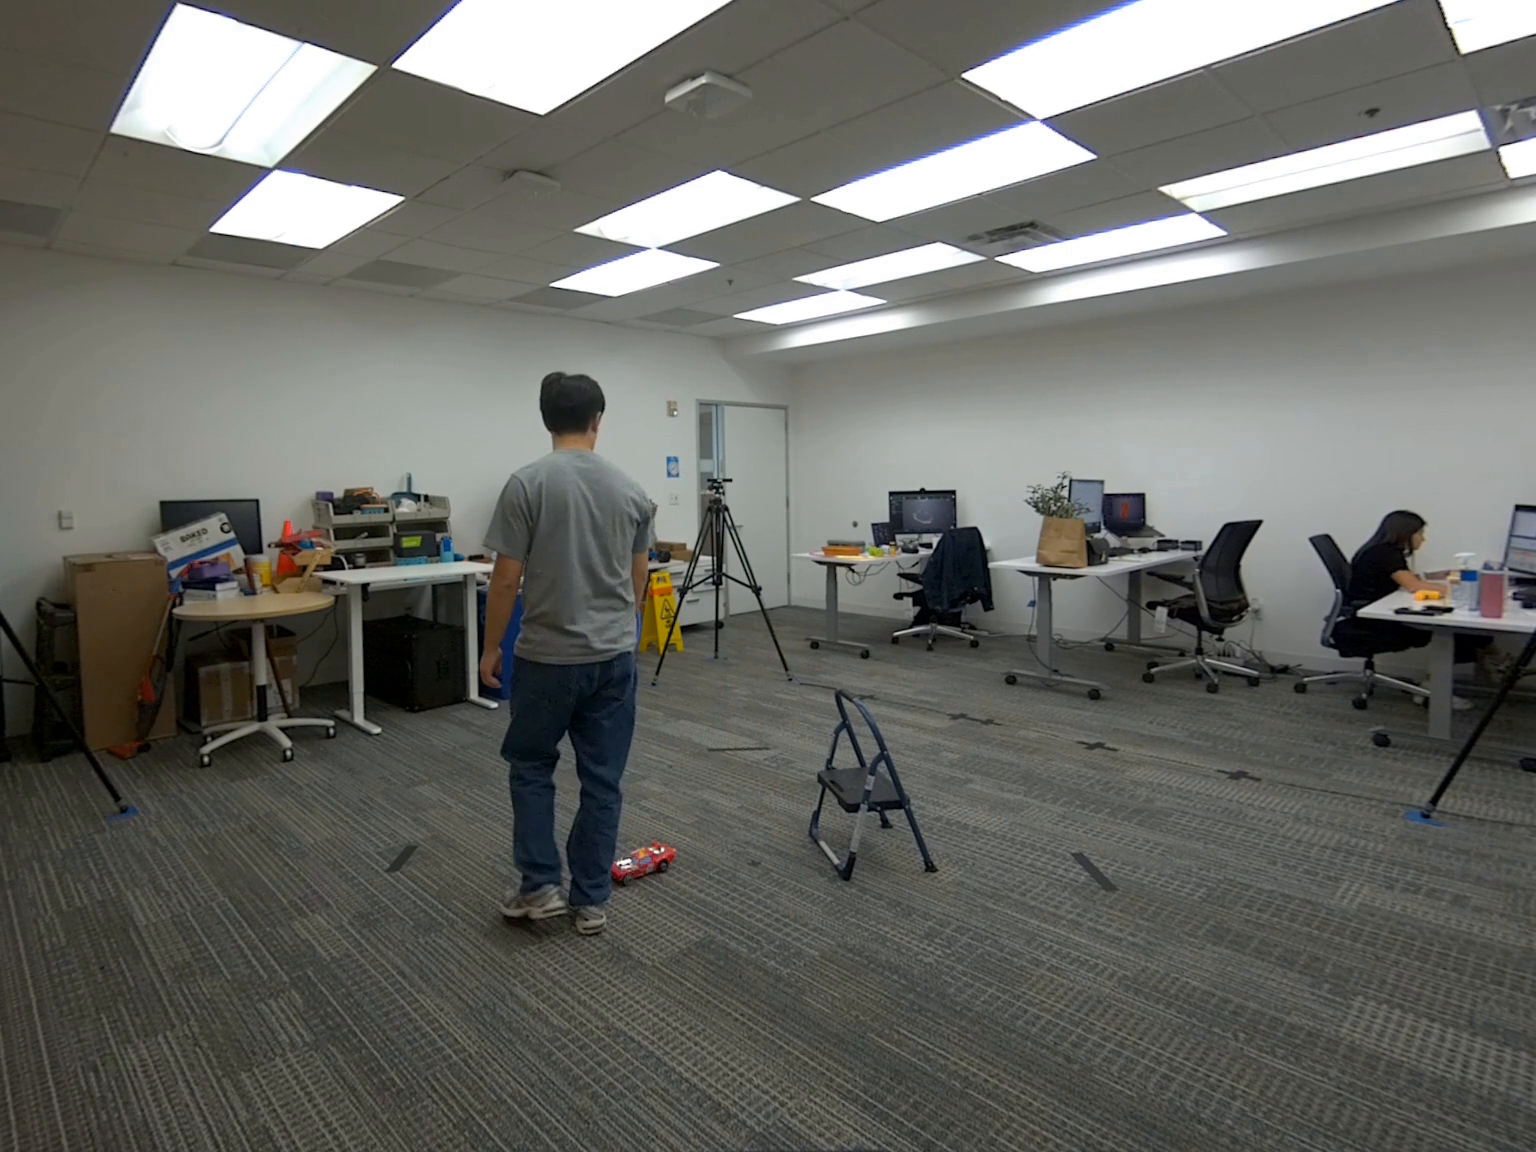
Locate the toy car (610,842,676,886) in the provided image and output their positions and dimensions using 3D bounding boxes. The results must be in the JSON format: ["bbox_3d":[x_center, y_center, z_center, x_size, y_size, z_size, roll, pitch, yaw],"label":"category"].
[{"bbox_3d":[-0.446,1.026,3.052,0.250,0.082,0.134,-20,16,-36],"label":"toy car"}]
